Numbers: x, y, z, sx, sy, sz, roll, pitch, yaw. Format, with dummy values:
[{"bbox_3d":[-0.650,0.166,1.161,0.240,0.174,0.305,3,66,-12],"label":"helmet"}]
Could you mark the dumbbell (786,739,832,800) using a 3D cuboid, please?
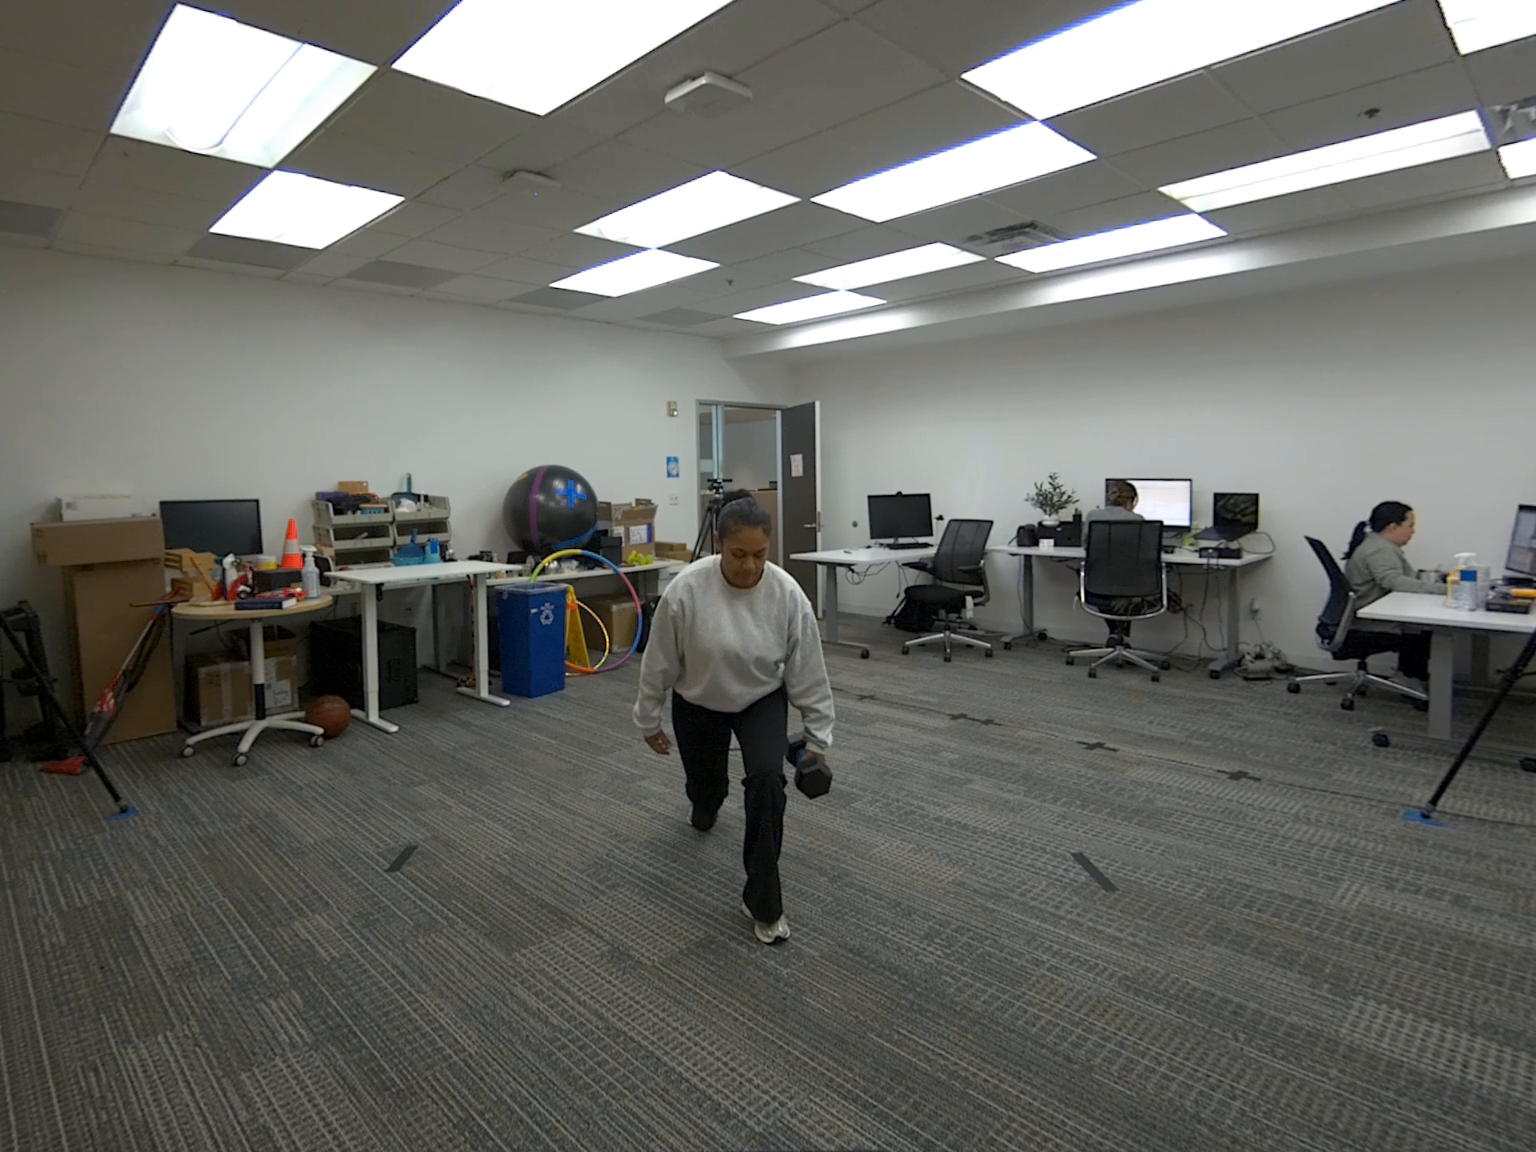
[{"bbox_3d":[0.120,0.620,2.832,0.108,0.122,0.298,11,10,-9],"label":"dumbbell"}]
